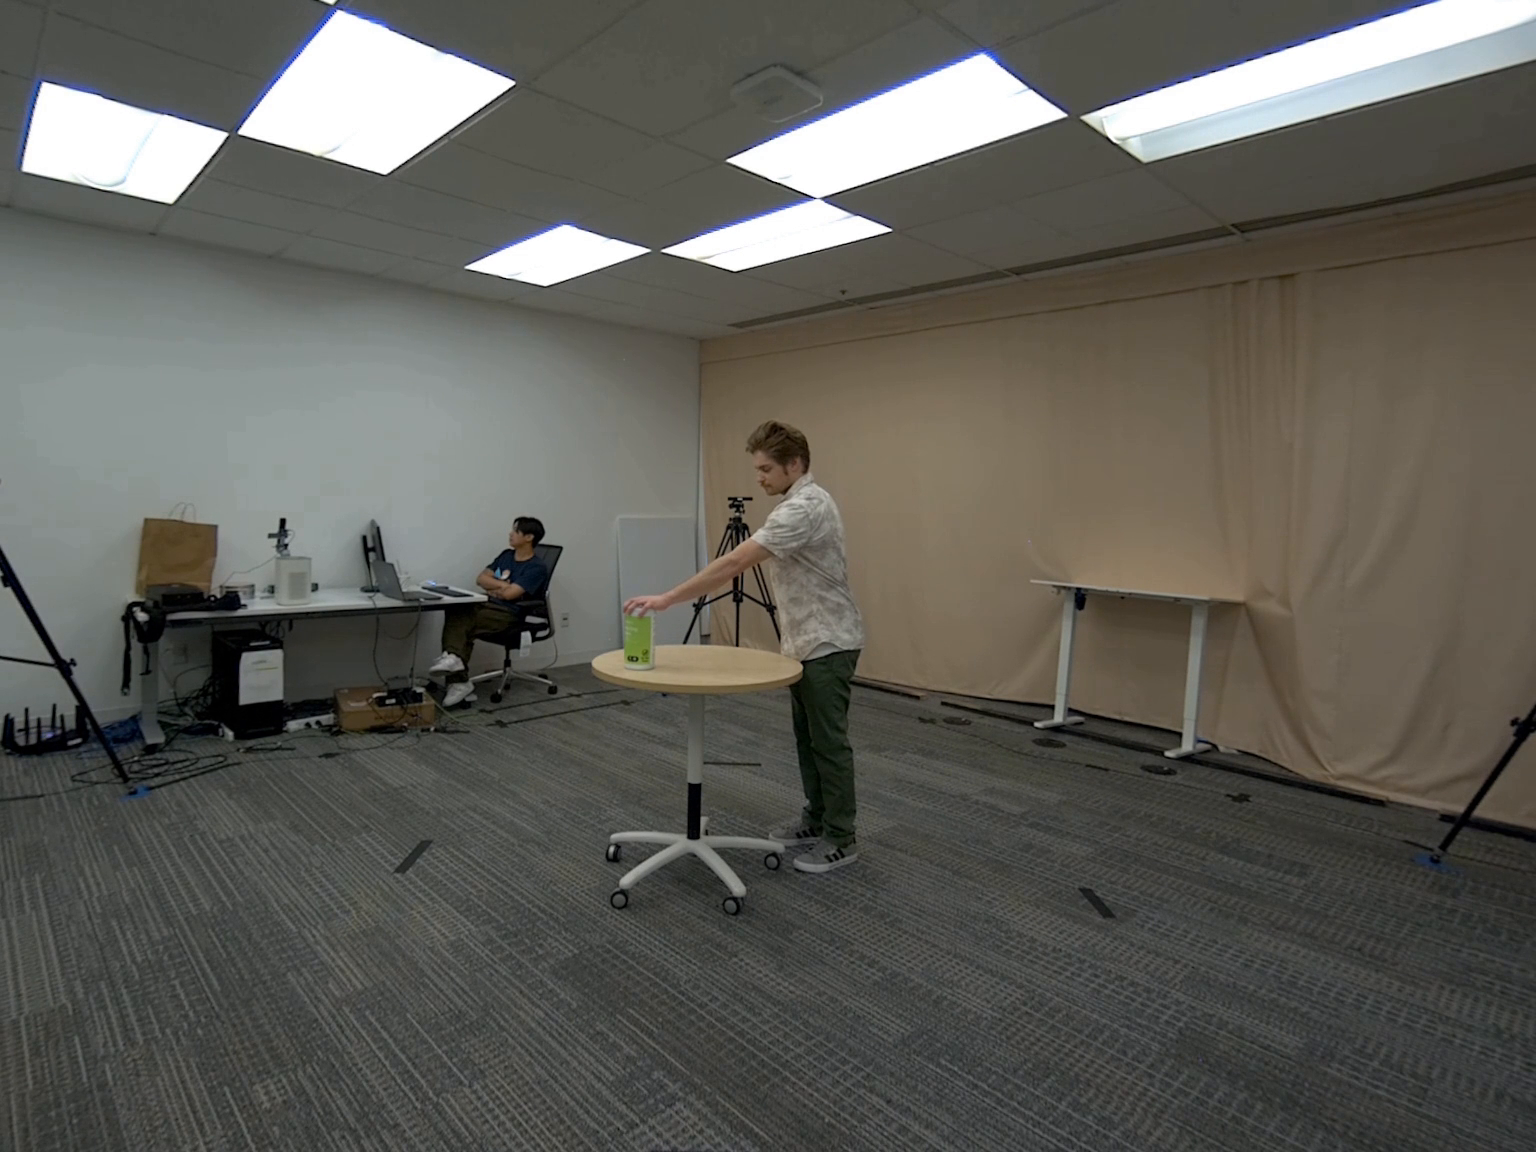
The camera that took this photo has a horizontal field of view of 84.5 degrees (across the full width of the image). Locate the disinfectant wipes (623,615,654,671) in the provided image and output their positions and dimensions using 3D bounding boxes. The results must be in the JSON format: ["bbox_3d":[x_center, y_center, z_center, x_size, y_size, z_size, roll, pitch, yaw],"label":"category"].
[{"bbox_3d":[-0.453,0.217,2.945,0.118,0.216,0.118,2,6,-2],"label":"disinfectant wipes"}]
